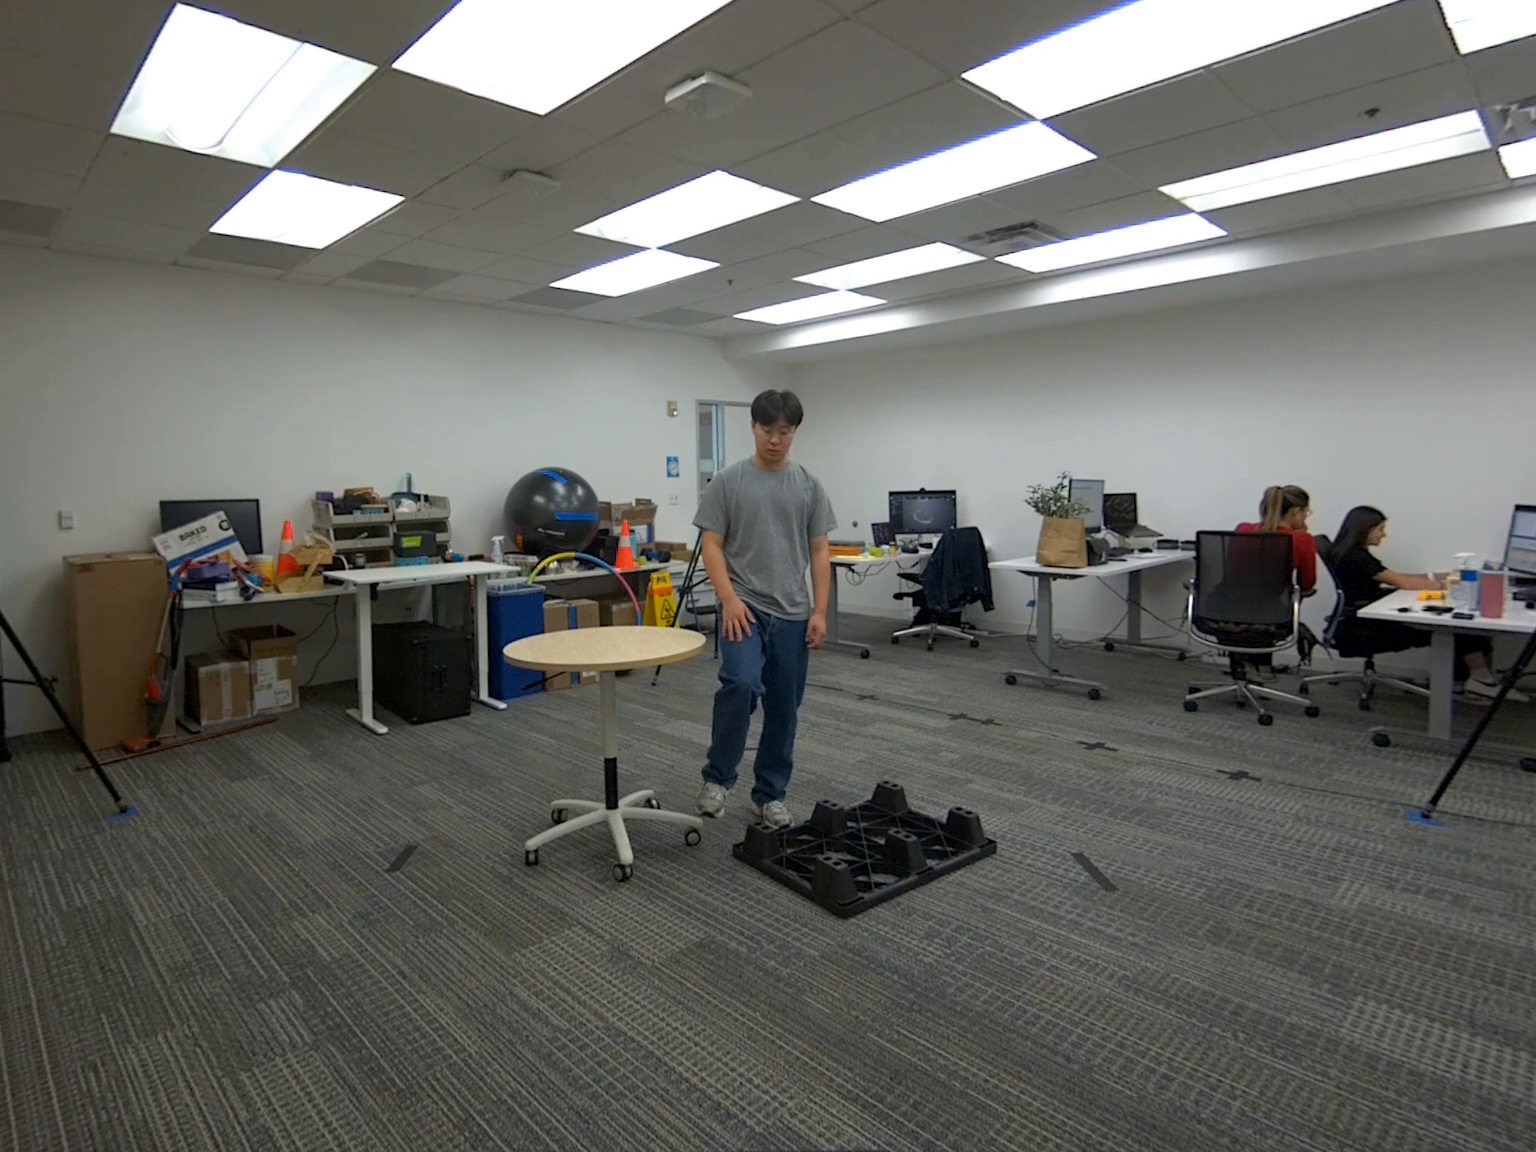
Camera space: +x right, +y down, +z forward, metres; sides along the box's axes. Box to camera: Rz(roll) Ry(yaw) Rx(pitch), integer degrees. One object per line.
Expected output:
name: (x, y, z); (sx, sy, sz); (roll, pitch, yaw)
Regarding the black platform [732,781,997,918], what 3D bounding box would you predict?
black platform: (0.361, 0.968, 3.165); (0.785, 0.142, 0.624); (-6, 8, -38)
